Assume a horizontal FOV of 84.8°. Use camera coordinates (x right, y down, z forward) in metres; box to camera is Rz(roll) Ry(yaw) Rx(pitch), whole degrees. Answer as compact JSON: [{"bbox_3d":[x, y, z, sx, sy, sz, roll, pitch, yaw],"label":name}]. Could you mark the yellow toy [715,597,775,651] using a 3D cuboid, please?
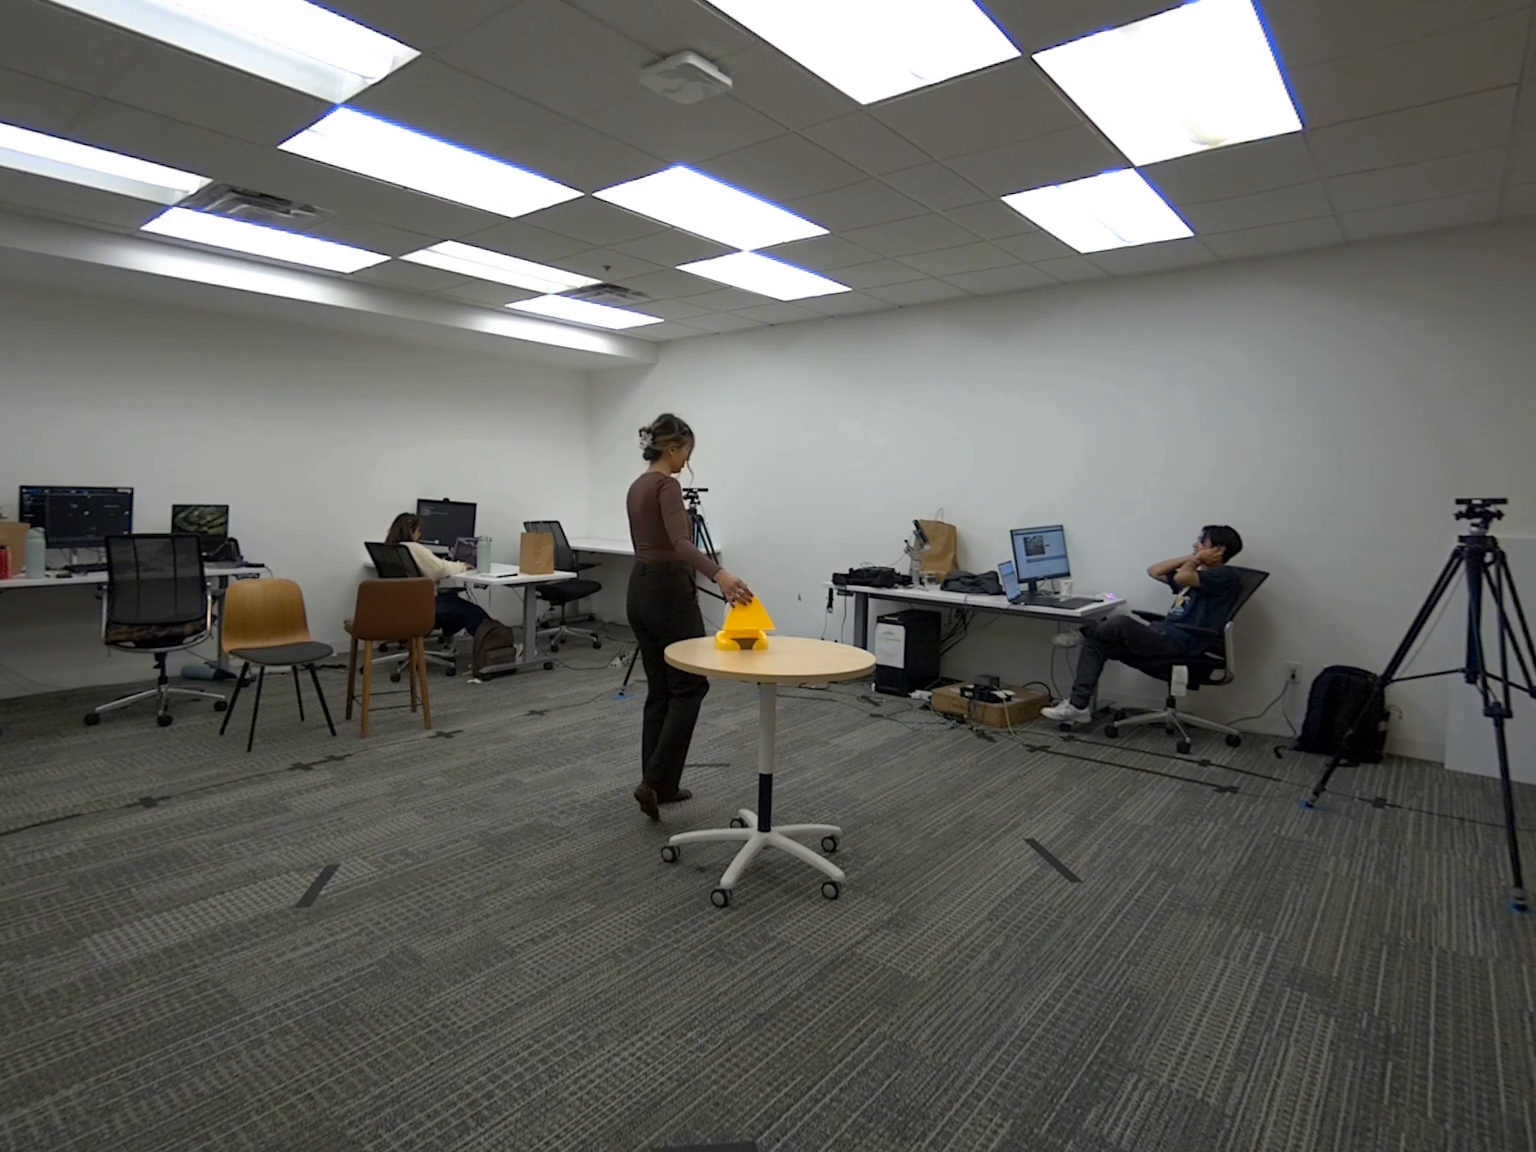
[{"bbox_3d":[-0.107,0.149,3.208,0.202,0.230,0.197,-1,4,-15],"label":"yellow toy"}]
